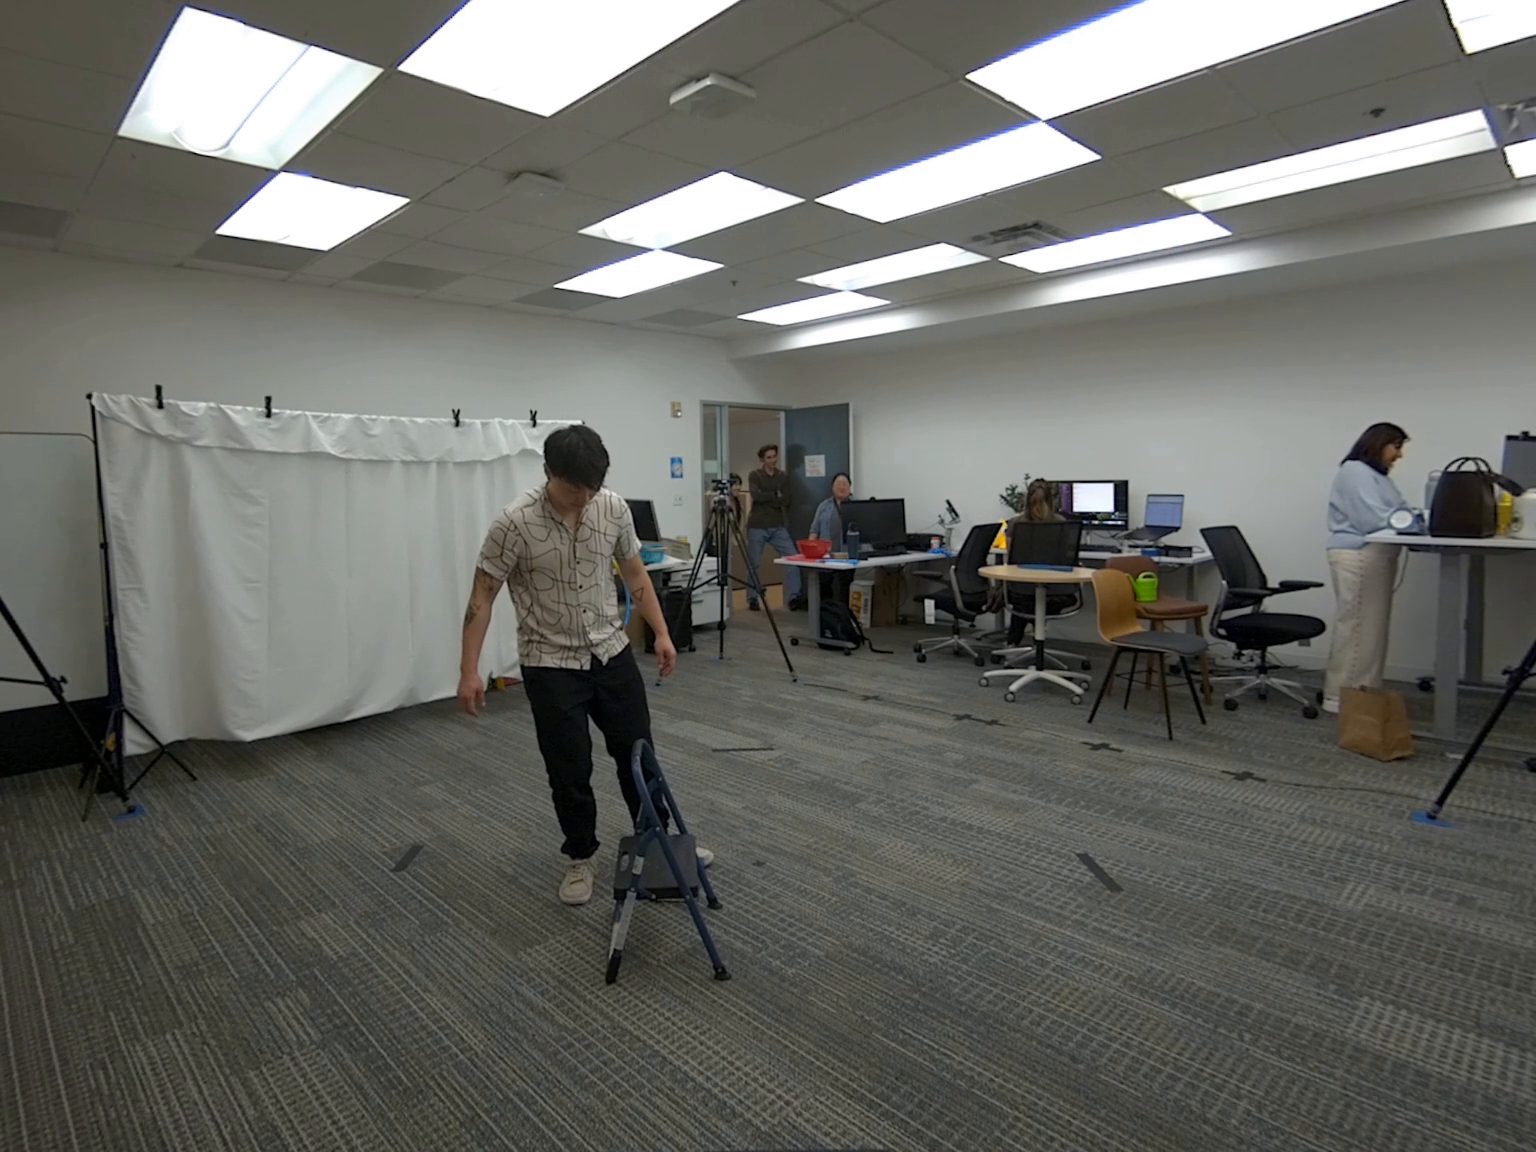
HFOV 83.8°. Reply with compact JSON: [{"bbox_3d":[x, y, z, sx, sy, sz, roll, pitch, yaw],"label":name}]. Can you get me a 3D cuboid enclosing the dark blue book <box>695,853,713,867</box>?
[{"bbox_3d":[-0.312,1.062,2.952,0.164,0.045,0.245,1,5,3],"label":"dark blue book"}]
